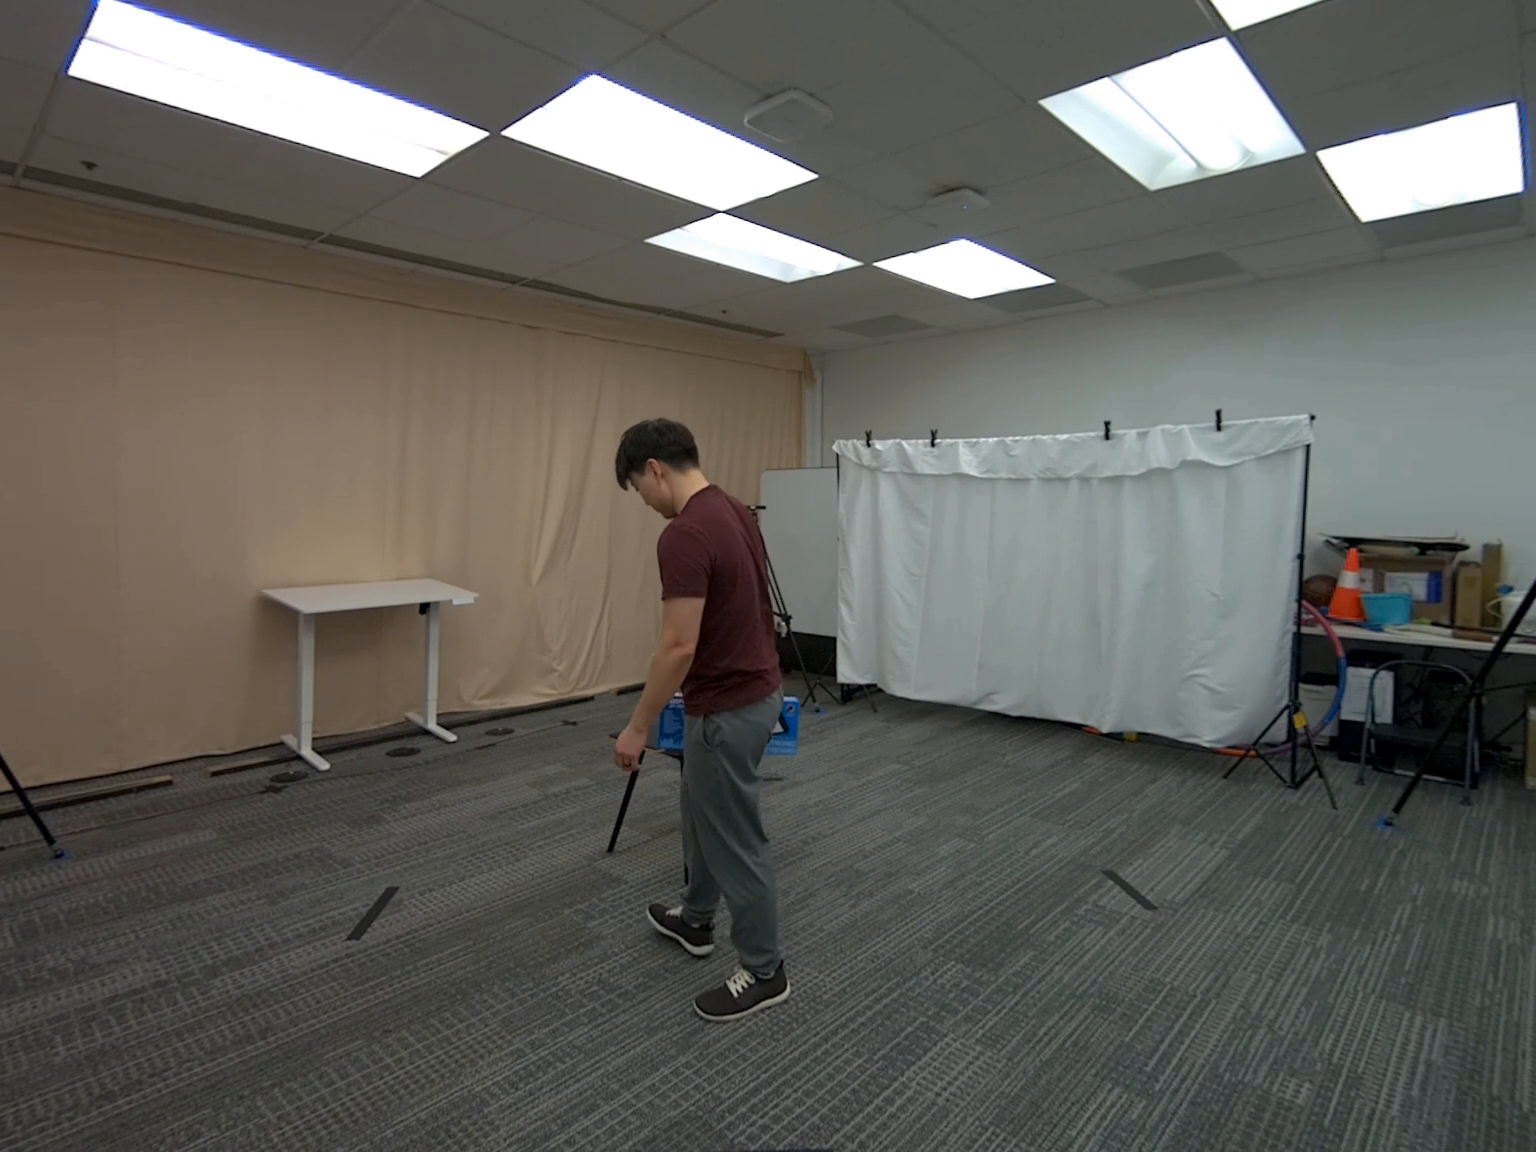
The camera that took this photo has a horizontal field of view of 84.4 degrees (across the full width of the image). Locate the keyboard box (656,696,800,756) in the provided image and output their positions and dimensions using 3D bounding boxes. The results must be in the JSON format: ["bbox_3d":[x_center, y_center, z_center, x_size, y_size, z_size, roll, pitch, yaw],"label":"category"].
[{"bbox_3d":[-0.139,0.464,2.679,0.436,0.176,0.059,3,2,-2],"label":"keyboard box"}]
